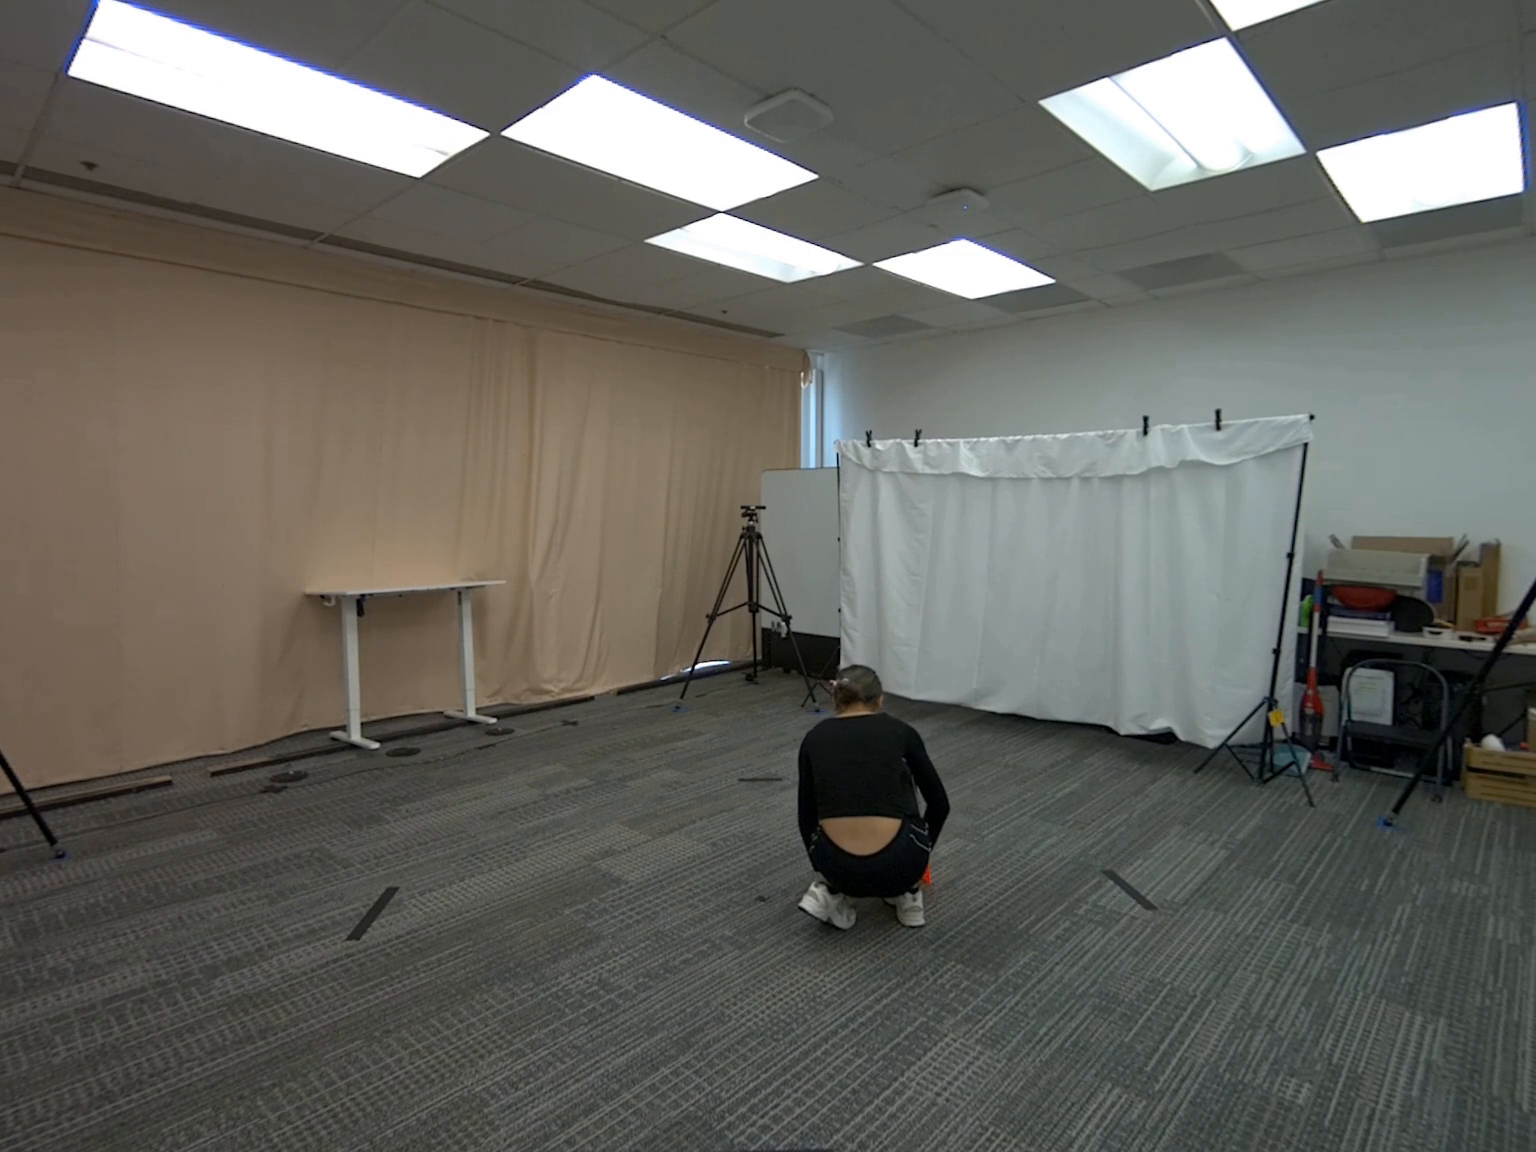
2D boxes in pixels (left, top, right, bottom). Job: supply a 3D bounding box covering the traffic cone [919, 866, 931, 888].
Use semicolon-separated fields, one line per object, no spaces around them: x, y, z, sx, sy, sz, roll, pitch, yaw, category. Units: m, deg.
0.382;1.075;3.106;0.377;0.204;0.208;-14;6;-22;traffic cone
